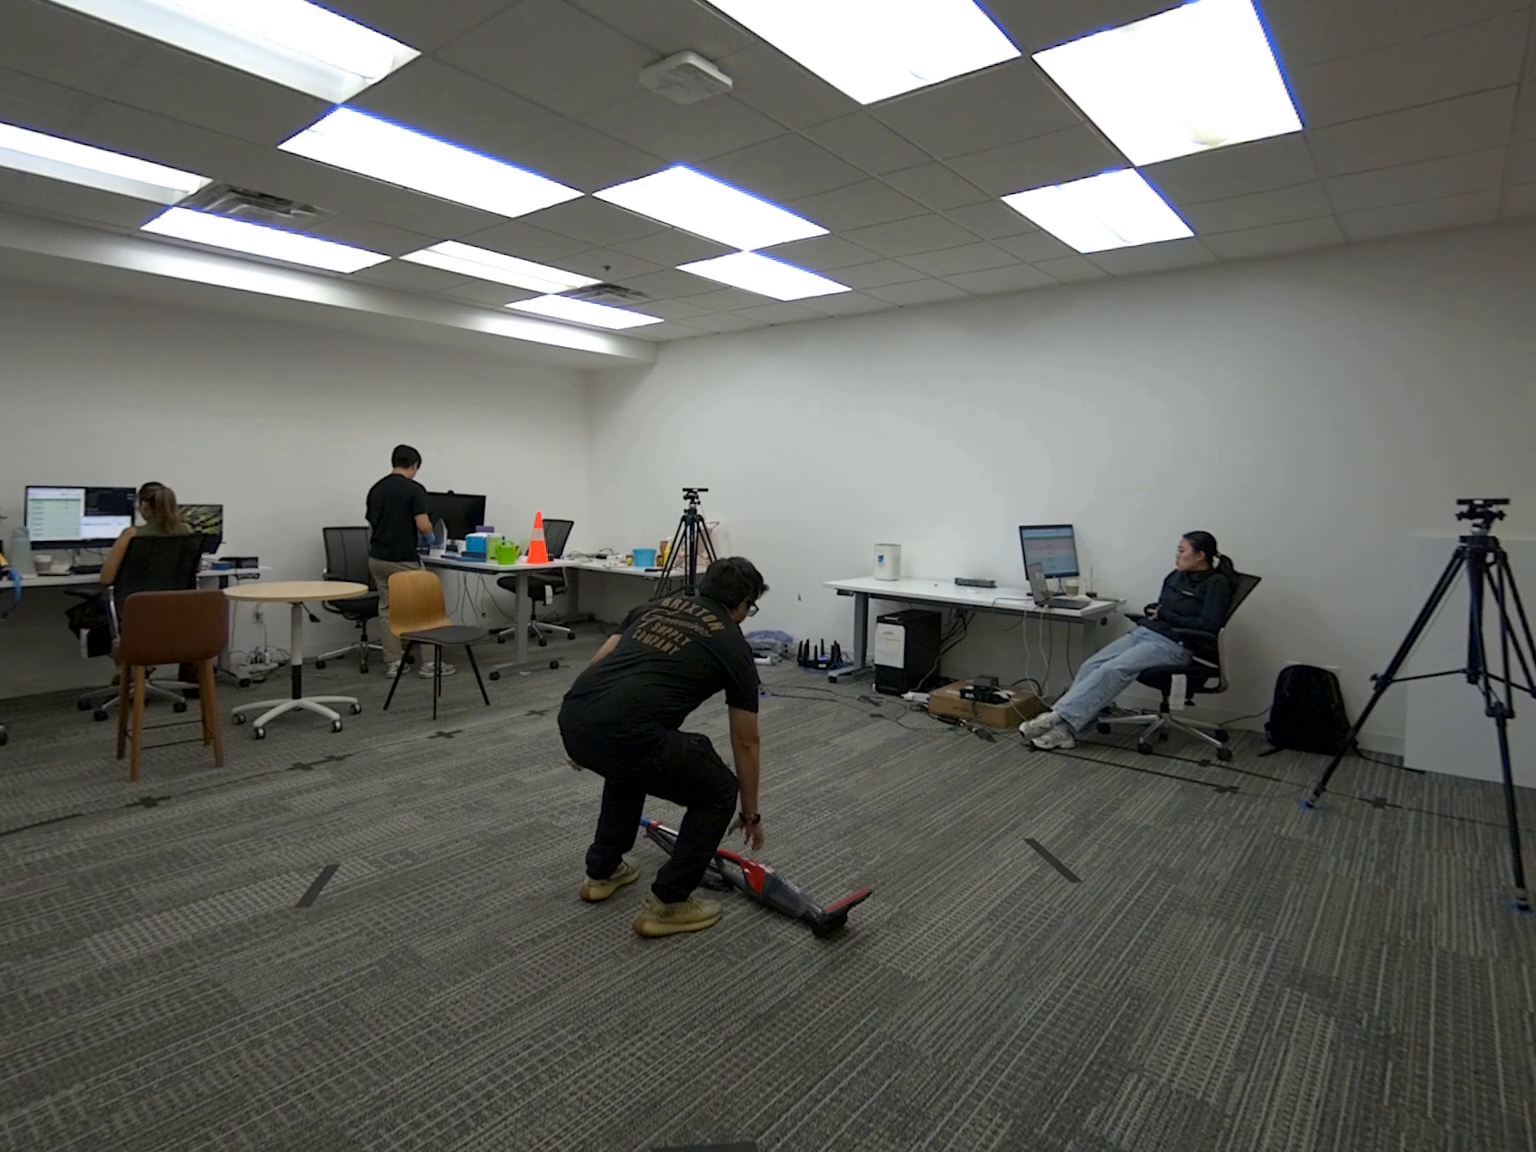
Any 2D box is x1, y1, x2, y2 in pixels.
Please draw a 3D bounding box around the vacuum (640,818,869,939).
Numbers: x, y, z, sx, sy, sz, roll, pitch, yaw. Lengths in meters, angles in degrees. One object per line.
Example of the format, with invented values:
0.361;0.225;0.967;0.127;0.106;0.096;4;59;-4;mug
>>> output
-0.187;1.024;3.008;1.085;0.143;0.245;5;5;41;vacuum
